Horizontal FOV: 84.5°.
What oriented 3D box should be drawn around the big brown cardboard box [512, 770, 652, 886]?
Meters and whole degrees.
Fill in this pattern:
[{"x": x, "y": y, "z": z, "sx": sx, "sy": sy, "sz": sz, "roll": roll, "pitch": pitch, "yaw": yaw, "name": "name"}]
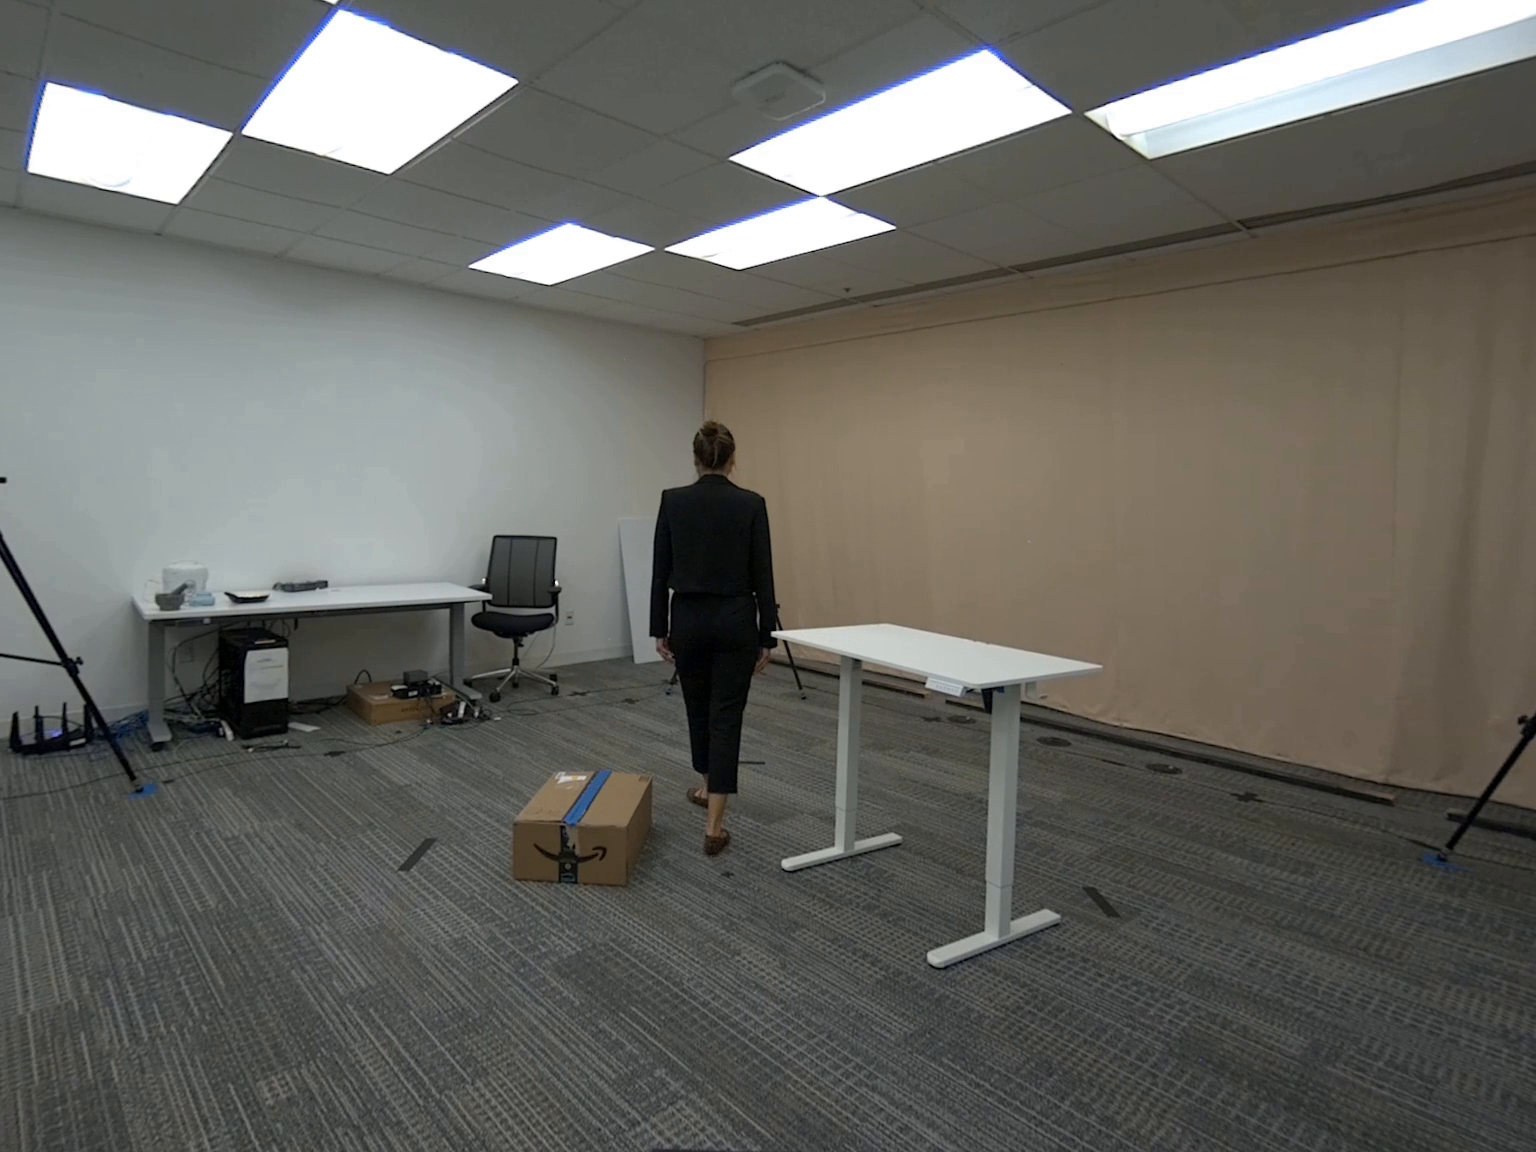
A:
[{"x": -0.709, "y": 0.961, "z": 3.278, "sx": 0.418, "sy": 0.232, "sz": 0.590, "roll": 1, "pitch": 6, "yaw": 2, "name": "big brown cardboard box"}]
